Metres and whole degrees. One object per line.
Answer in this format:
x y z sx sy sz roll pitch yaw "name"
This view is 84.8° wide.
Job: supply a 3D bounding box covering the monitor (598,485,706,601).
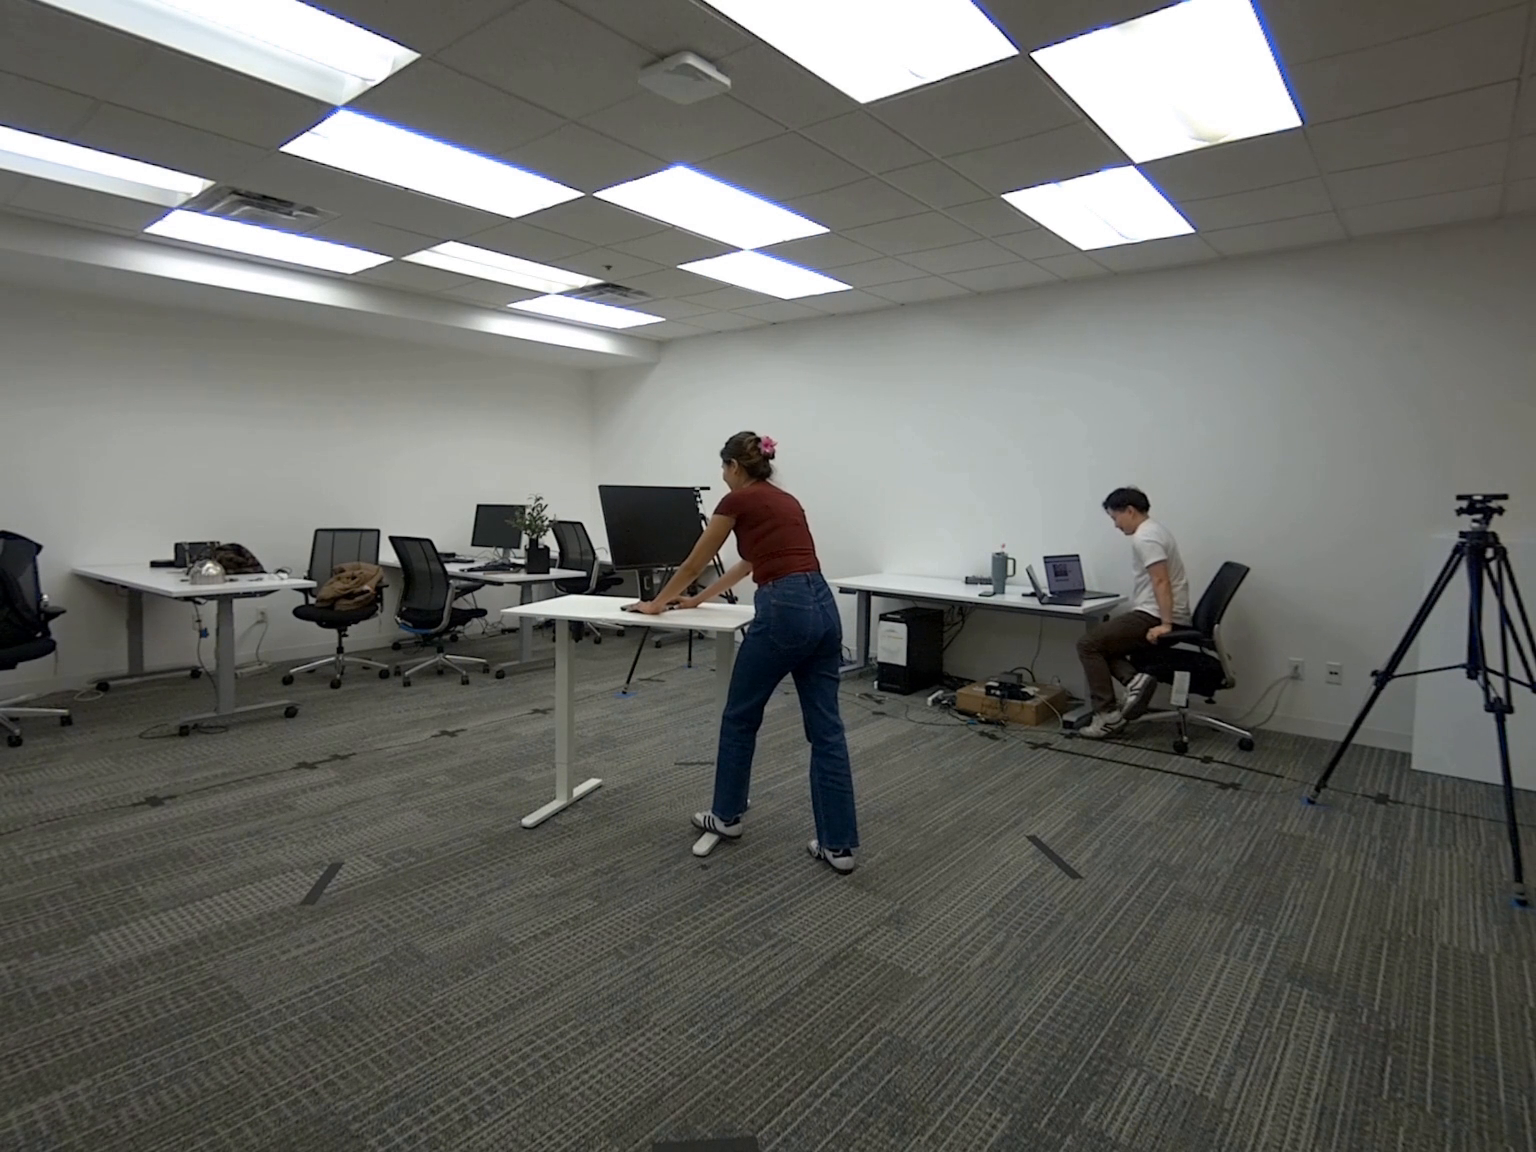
-0.502 -0.118 3.581 0.193 0.522 0.523 0 2 36 "monitor"
